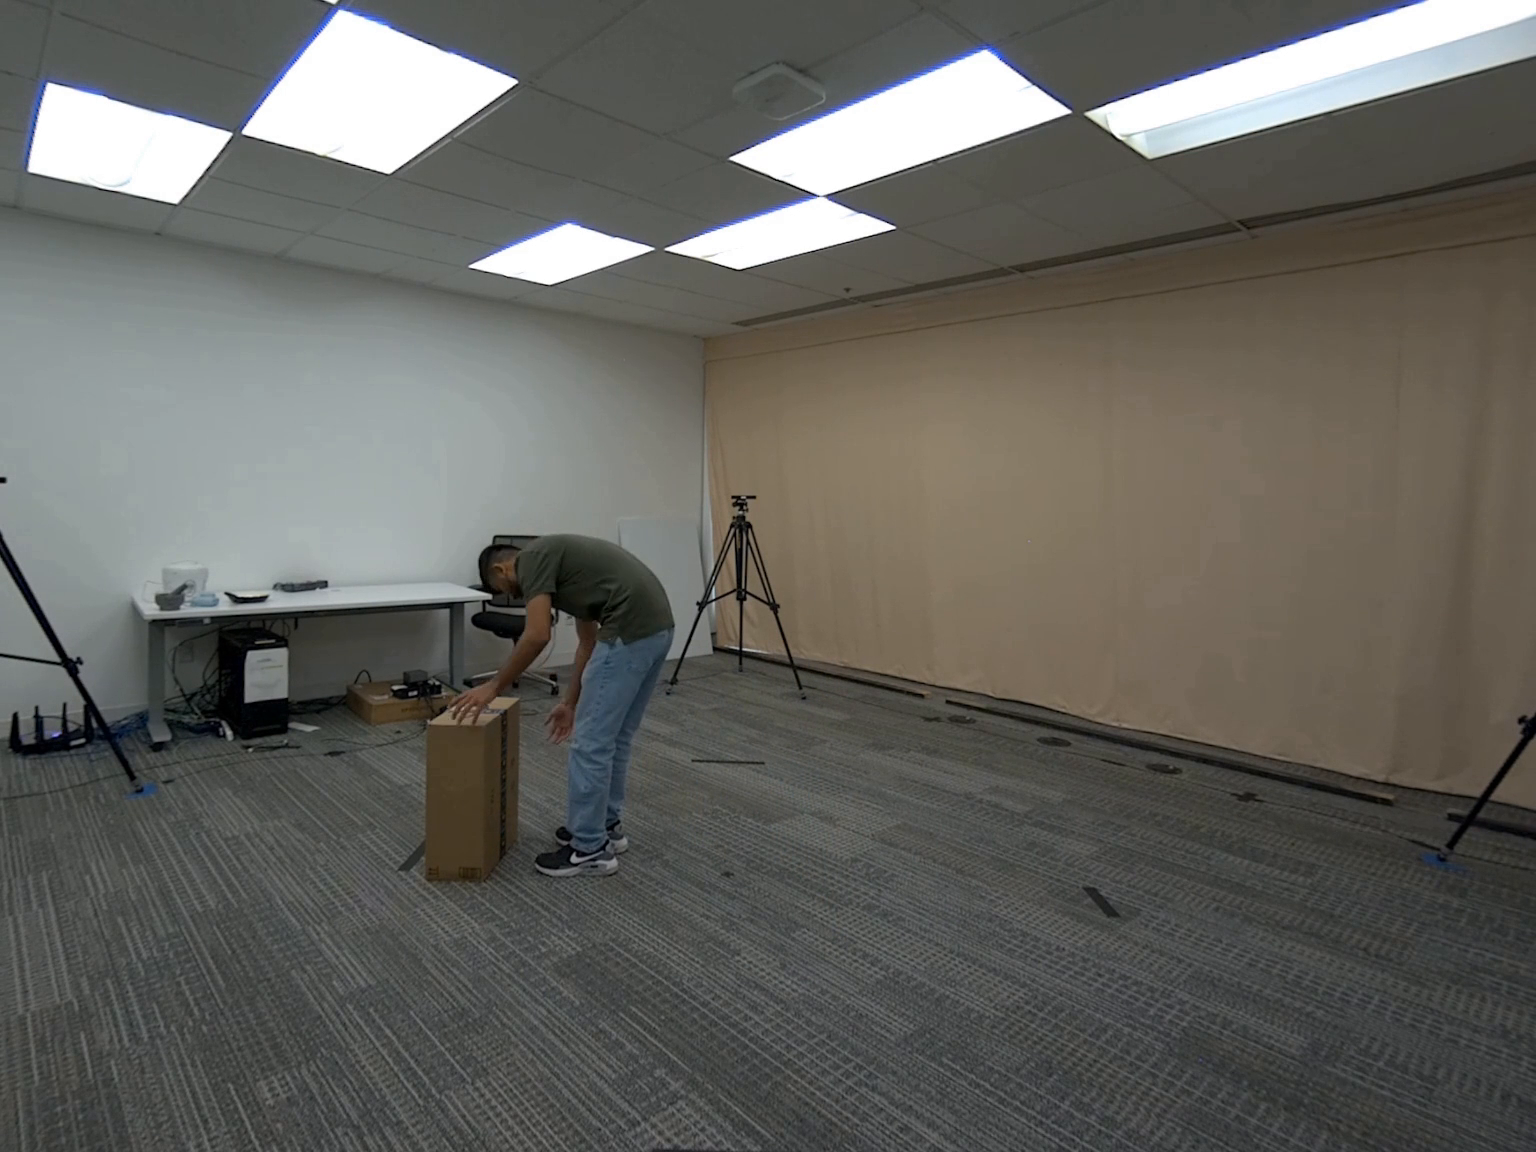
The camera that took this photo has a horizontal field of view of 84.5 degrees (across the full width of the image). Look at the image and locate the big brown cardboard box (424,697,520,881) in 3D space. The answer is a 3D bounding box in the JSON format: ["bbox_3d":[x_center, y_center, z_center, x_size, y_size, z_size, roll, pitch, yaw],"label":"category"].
[{"bbox_3d":[-1.115,0.792,3.193,0.233,0.588,0.418,3,3,1],"label":"big brown cardboard box"}]
